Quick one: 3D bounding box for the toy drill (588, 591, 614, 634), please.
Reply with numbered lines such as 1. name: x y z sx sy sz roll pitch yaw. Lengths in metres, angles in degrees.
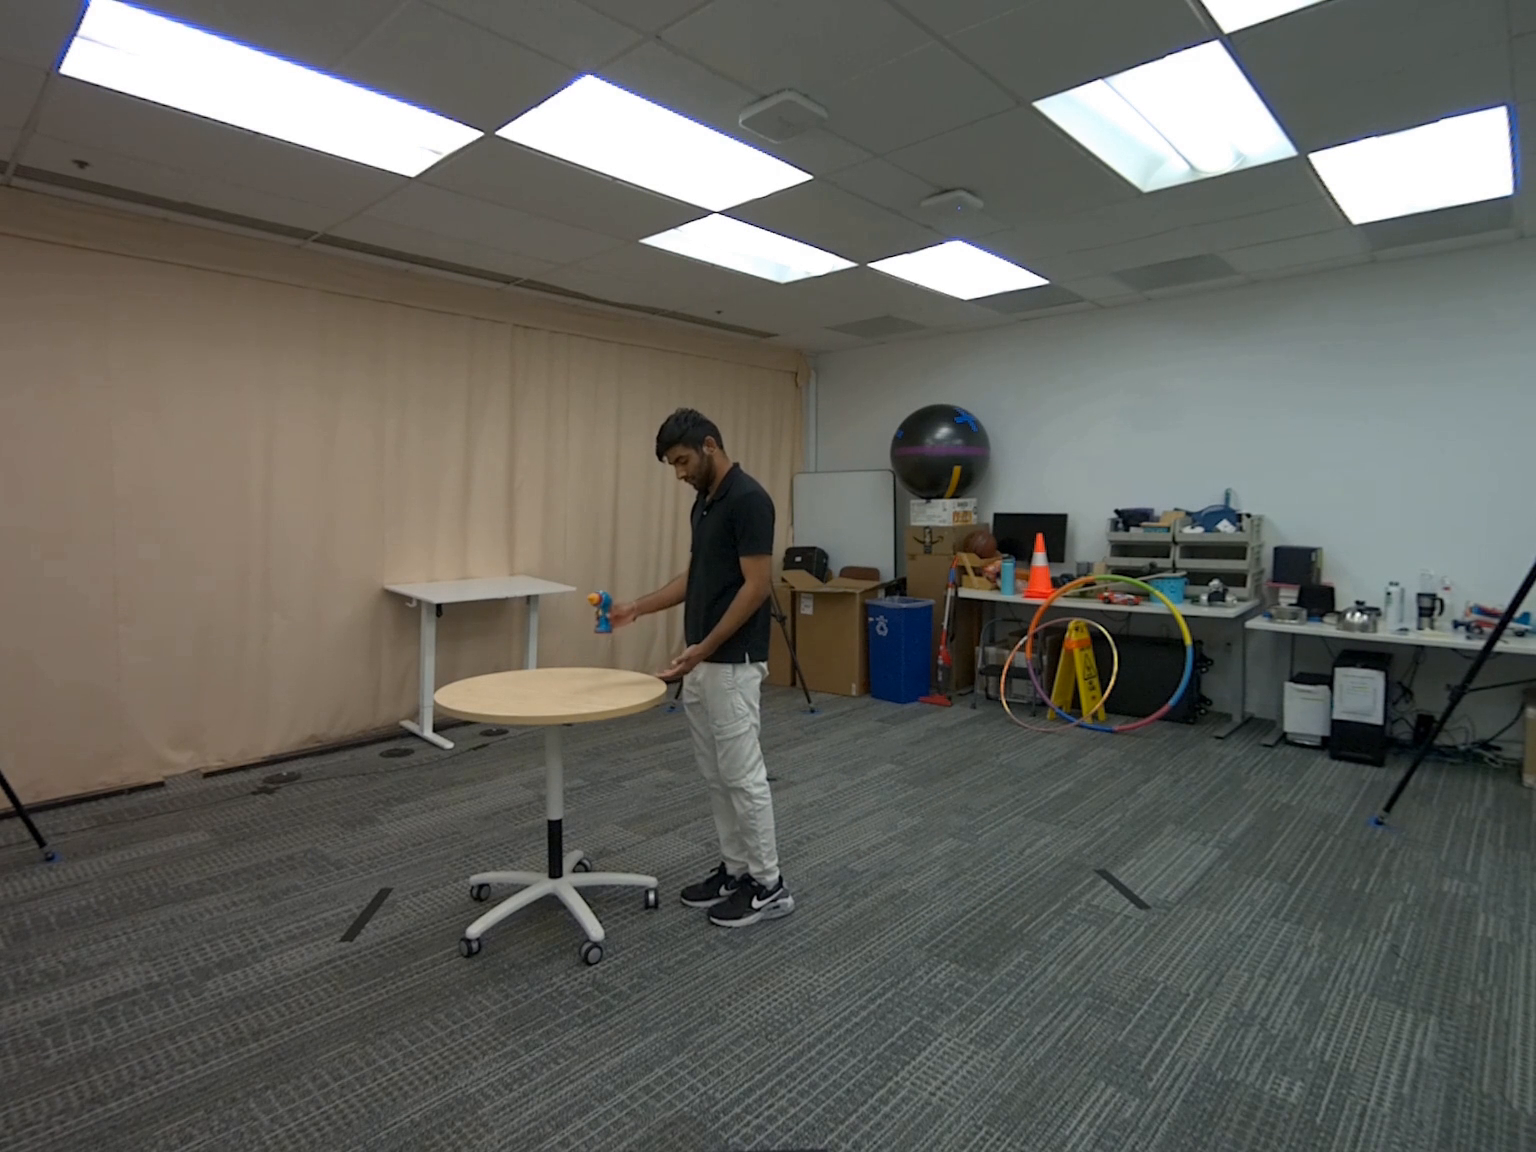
1. toy drill: -0.570 0.120 2.851 0.062 0.147 0.166 -4 -7 14
